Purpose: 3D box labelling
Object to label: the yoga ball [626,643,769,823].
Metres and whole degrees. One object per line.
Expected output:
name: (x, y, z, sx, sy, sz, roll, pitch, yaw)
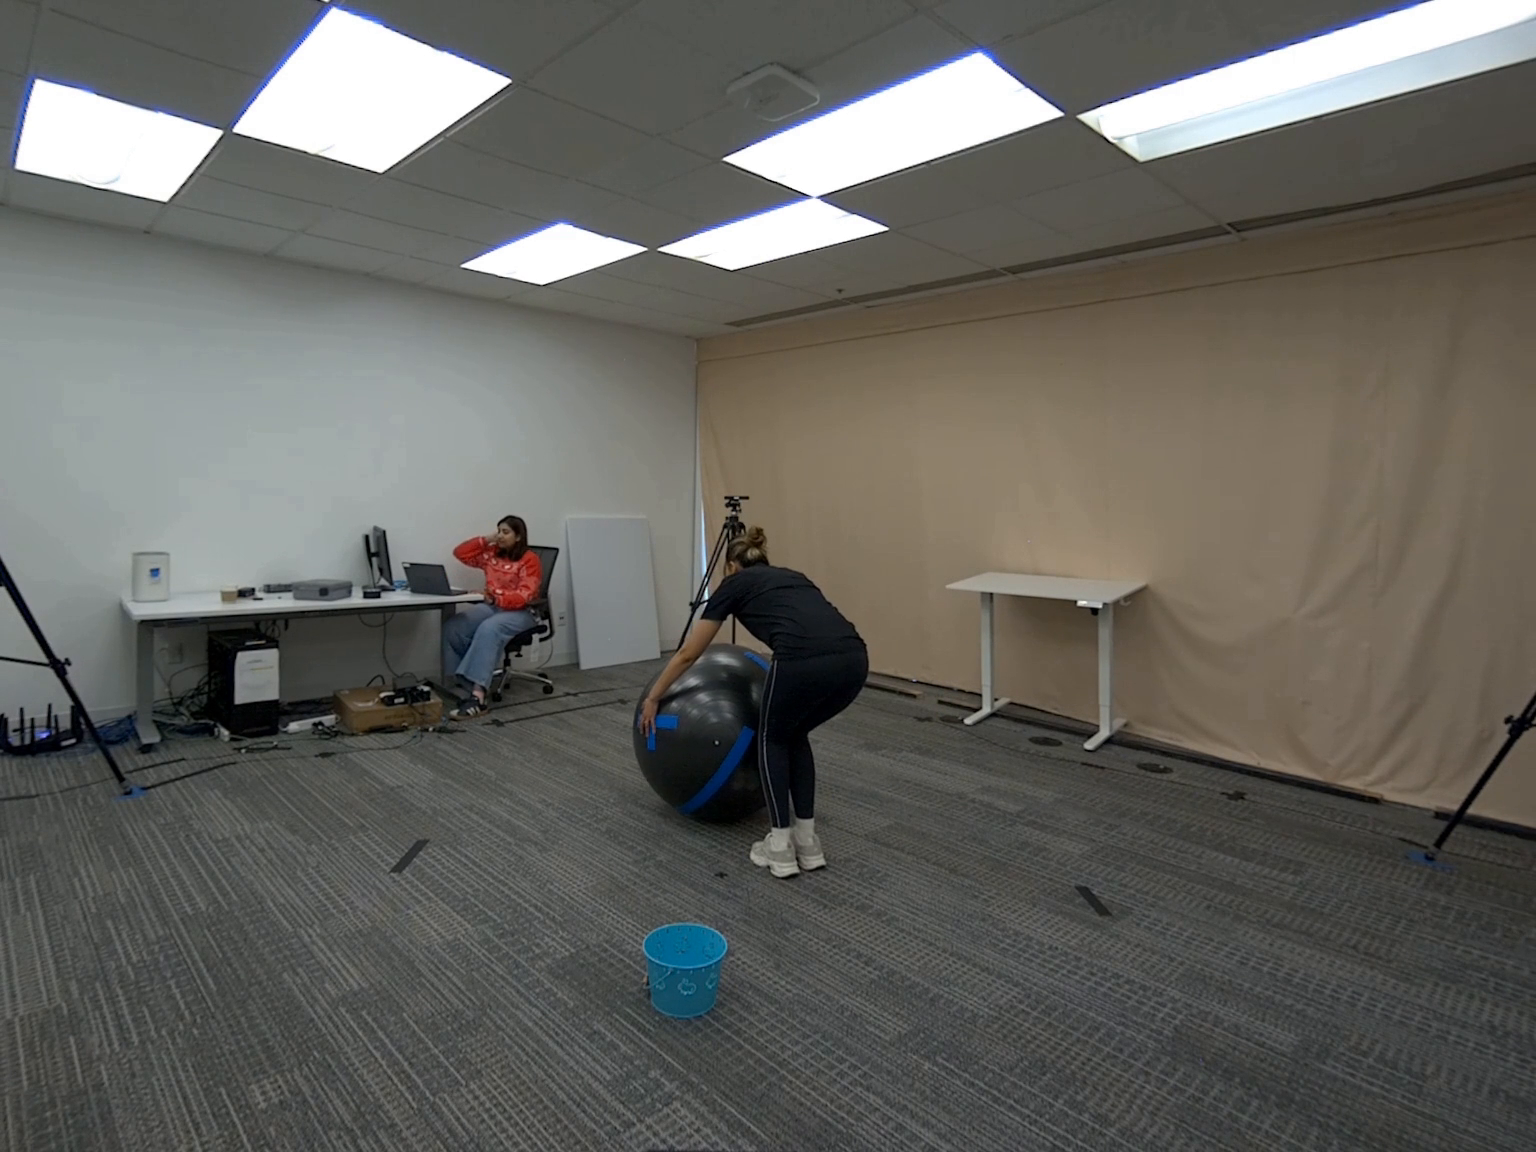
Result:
yoga ball: (-0.220, 0.671, 3.706, 0.757, 0.756, 0.761, 1, 4, -1)
